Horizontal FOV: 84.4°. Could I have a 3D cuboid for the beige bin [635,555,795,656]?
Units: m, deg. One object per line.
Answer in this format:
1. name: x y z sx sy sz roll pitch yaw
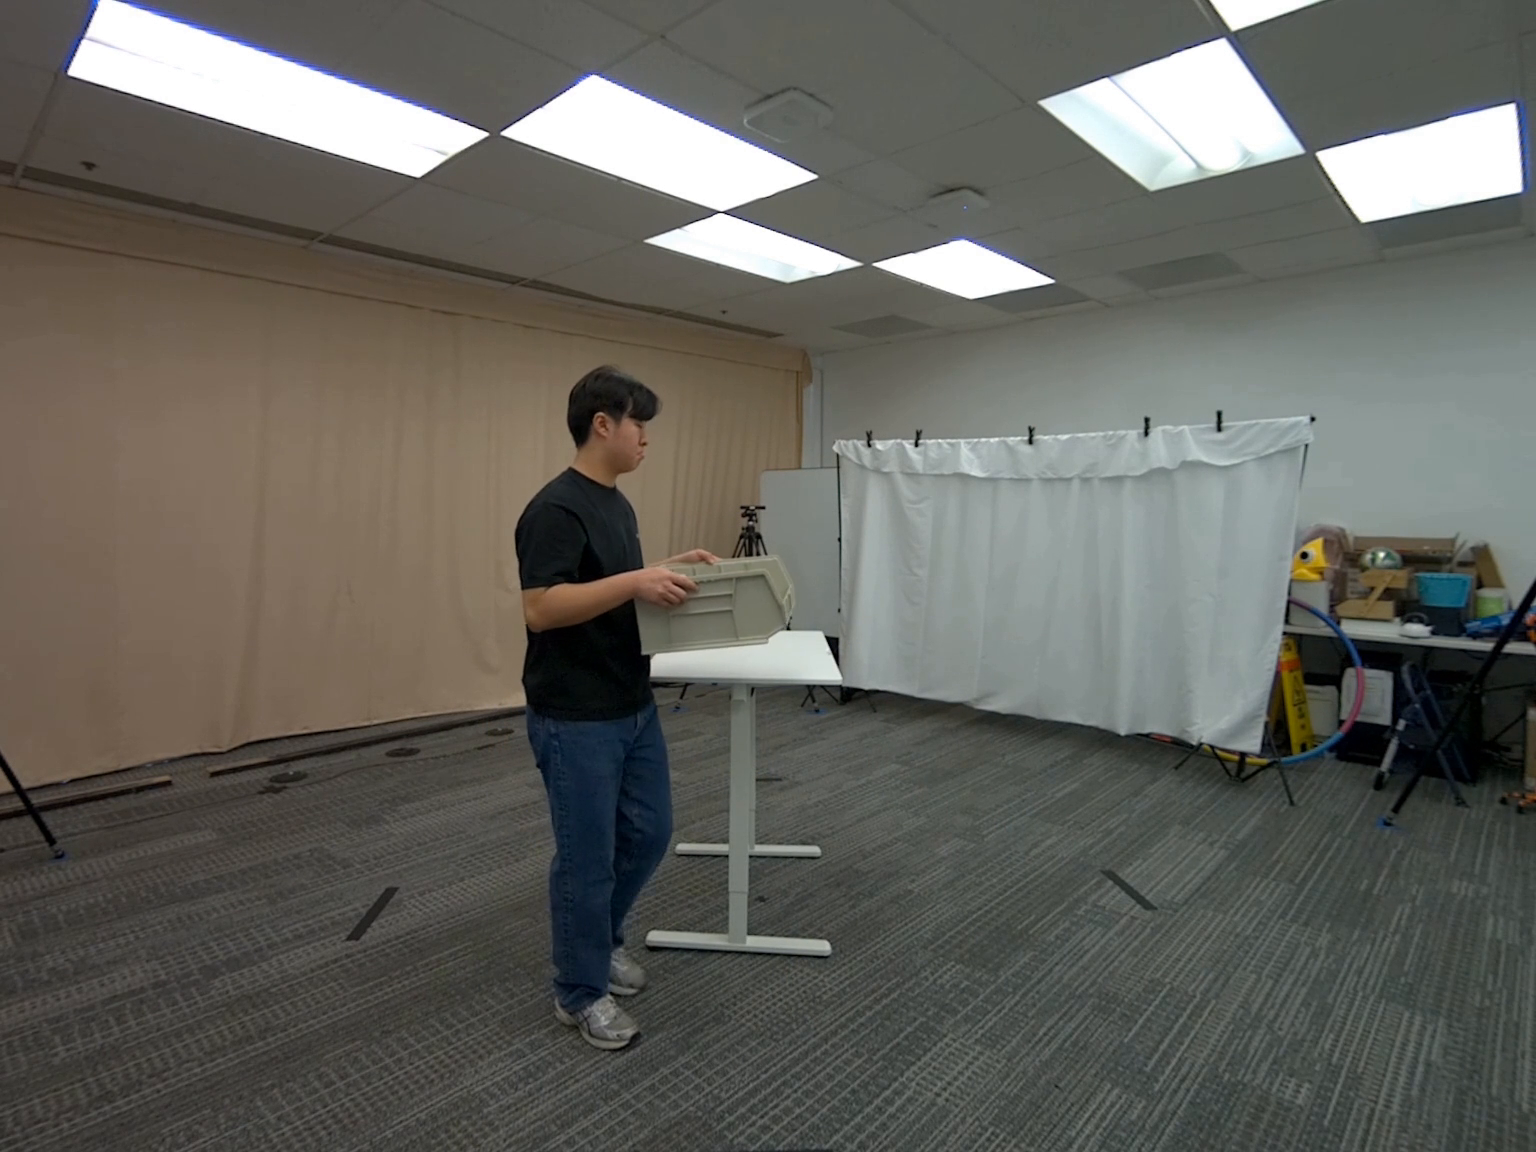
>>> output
1. beige bin: -0.107 0.089 2.227 0.379 0.187 0.424 -6 11 2
